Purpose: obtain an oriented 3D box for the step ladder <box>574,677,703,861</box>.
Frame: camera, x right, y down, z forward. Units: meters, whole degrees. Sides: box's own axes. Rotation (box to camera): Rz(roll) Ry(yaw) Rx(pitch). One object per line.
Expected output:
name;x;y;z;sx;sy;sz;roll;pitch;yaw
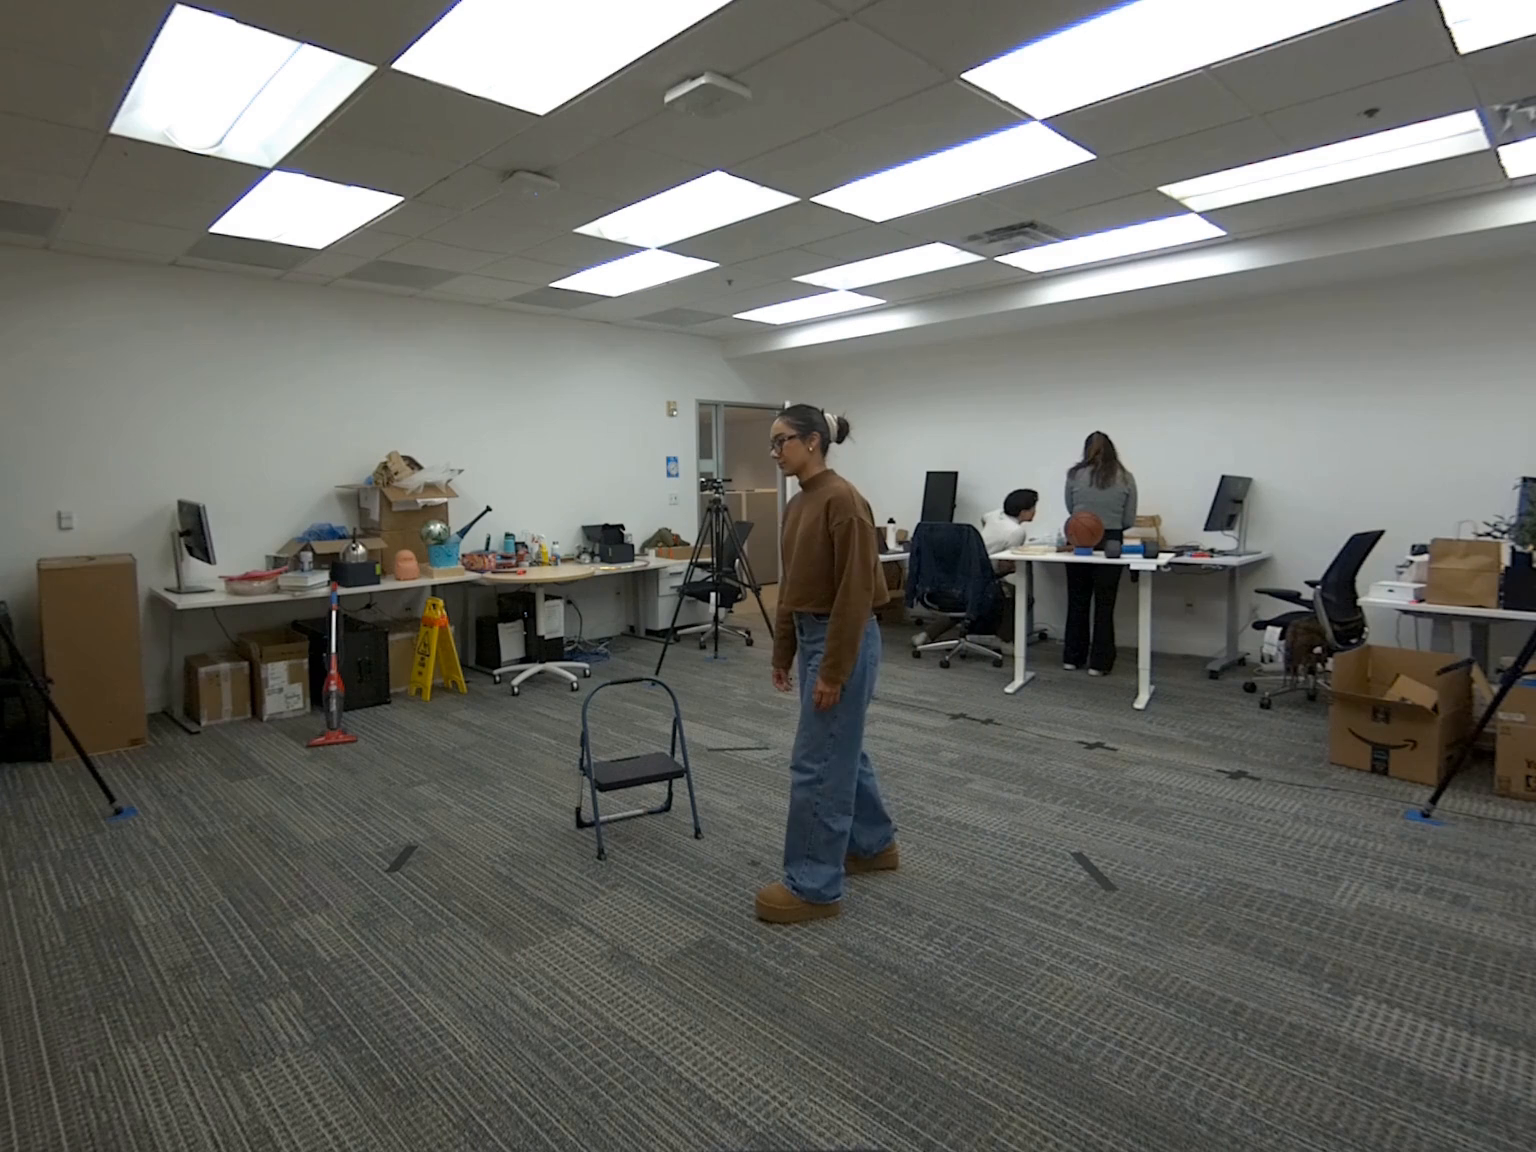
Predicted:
step ladder;-0.524;0.717;3.385;0.421;0.604;0.358;-3;4;-28
